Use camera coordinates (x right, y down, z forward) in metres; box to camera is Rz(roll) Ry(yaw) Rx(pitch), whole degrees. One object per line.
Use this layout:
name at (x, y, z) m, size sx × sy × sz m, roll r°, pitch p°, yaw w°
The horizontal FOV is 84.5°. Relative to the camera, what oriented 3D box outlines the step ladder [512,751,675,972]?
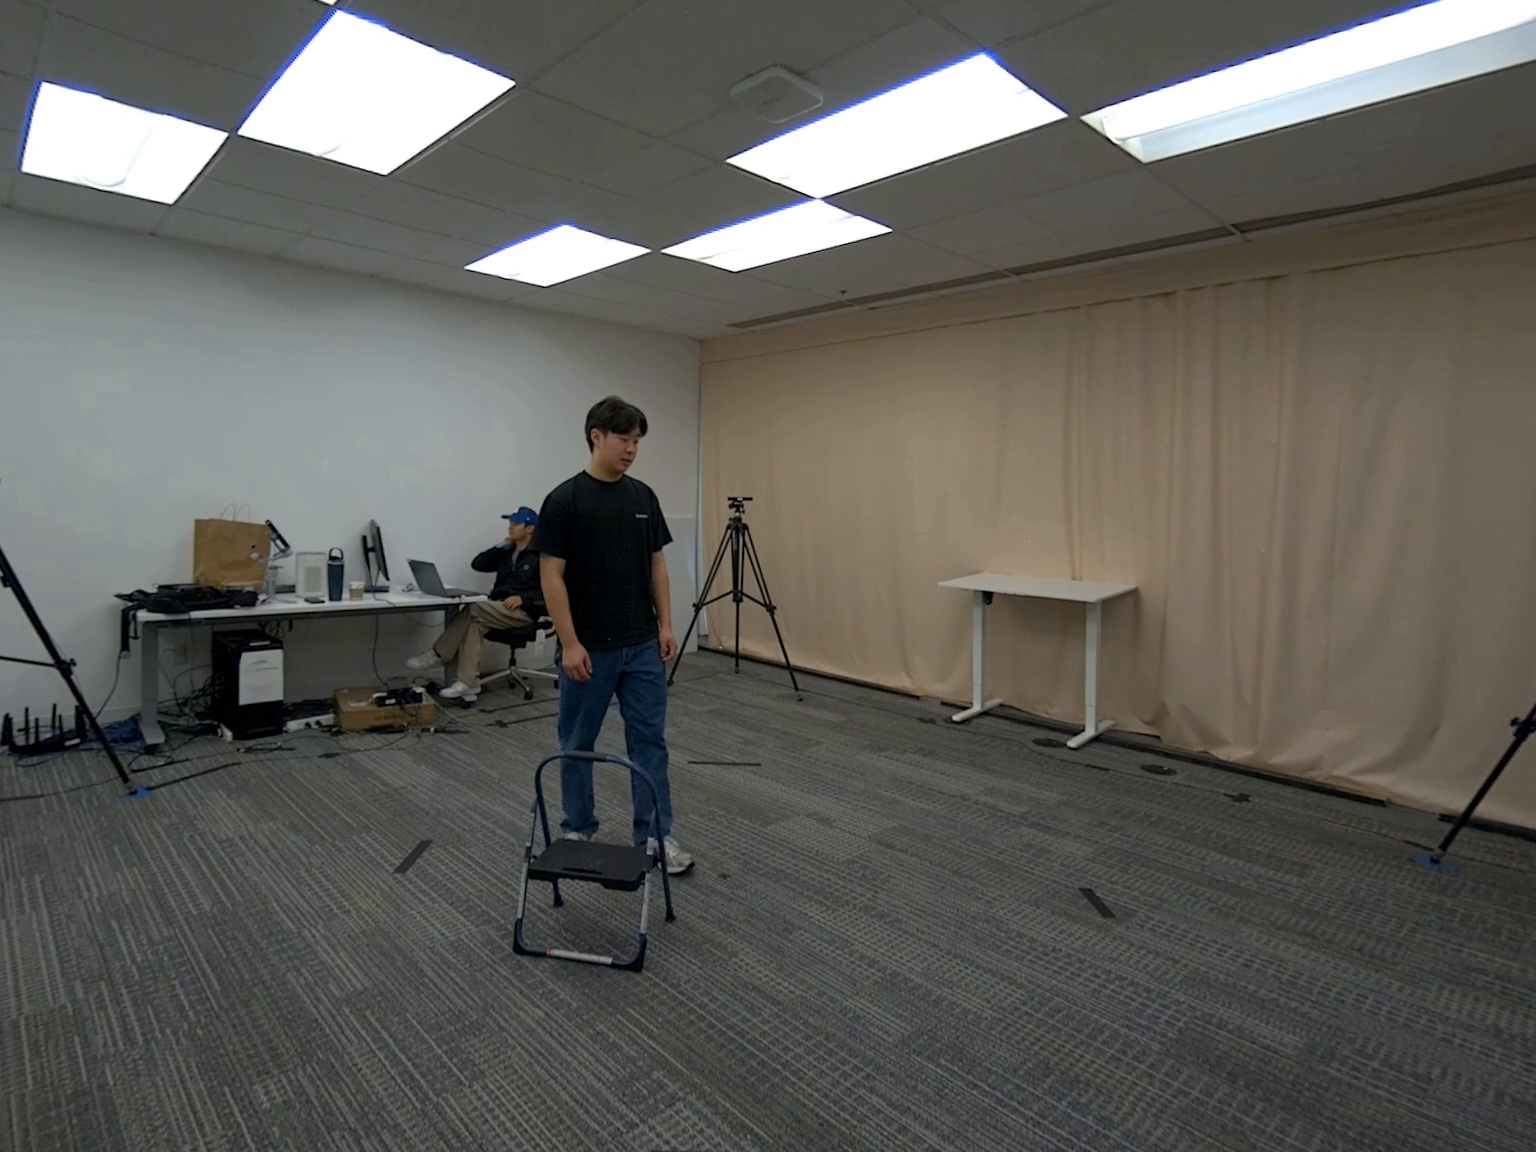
step ladder at (-0.539, 0.837, 2.650) m, size 0.435 × 0.605 × 0.347 m, roll 2°, pitch 3°, yaw 11°
